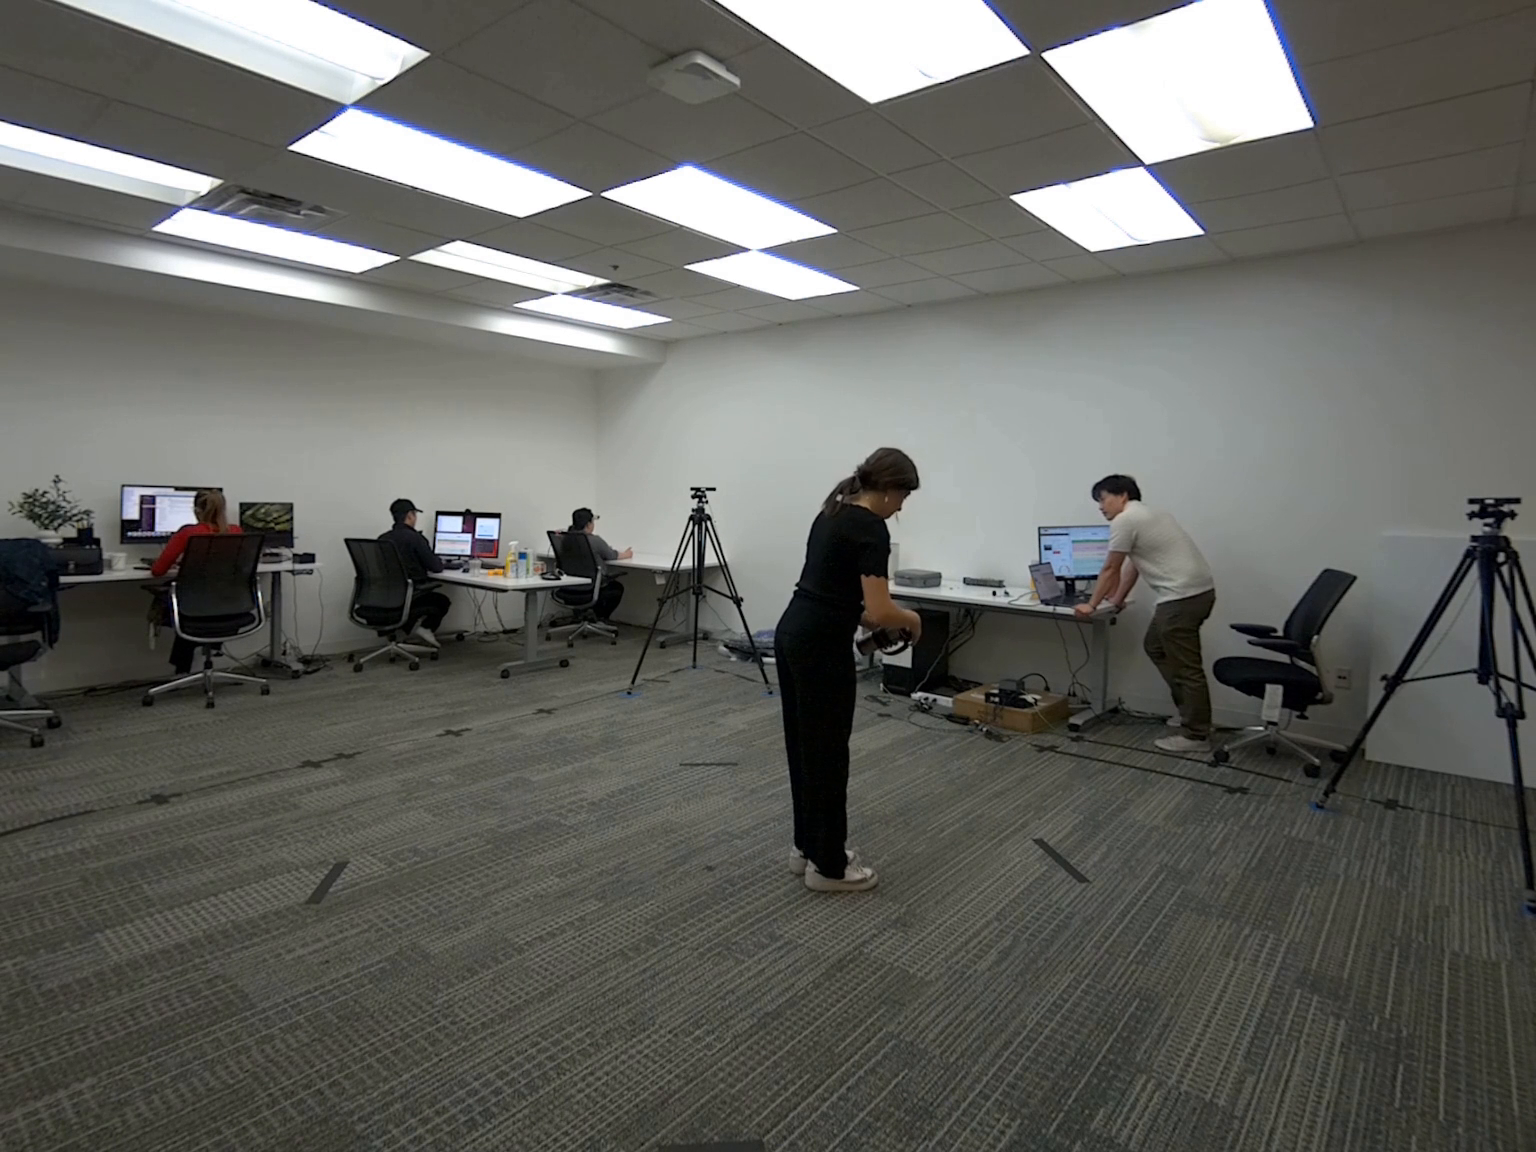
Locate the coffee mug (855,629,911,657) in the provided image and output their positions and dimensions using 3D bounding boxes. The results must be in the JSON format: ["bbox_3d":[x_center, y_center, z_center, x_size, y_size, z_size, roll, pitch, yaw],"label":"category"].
[{"bbox_3d":[0.405,0.248,3.036,0.205,0.126,0.084,-29,-42,20],"label":"coffee mug"}]
